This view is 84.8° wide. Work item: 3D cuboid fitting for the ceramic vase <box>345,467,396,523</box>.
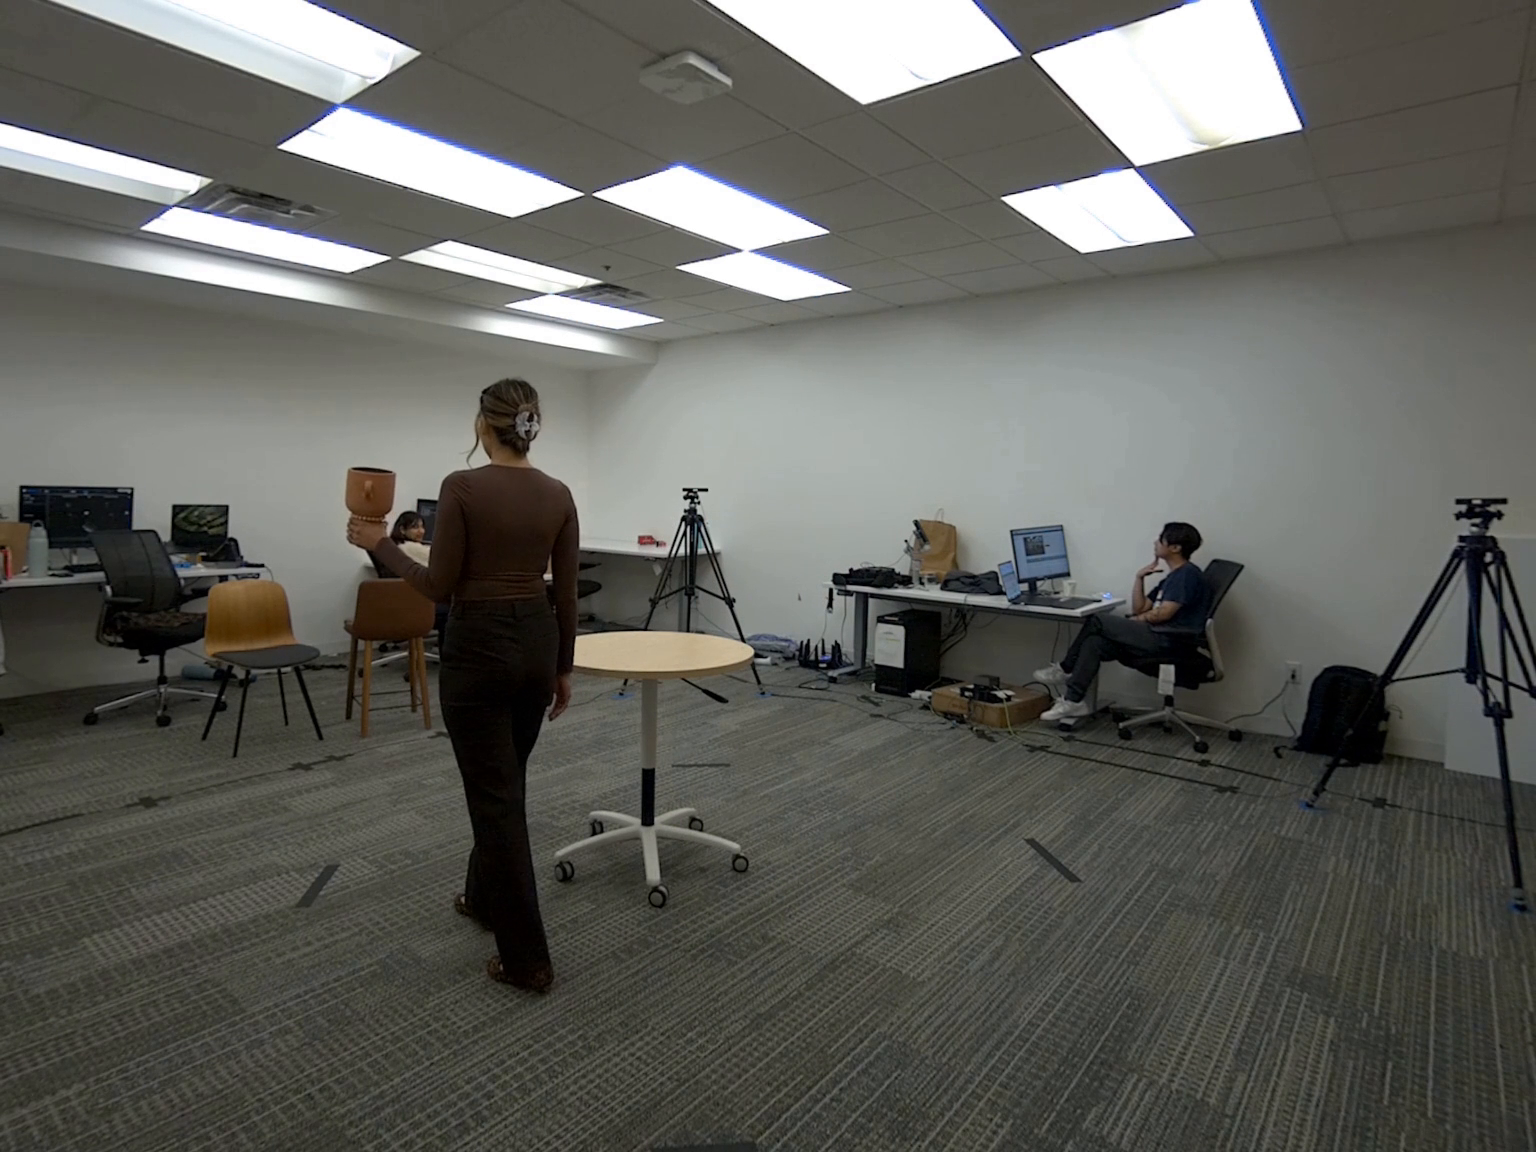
[{"bbox_3d":[-1.188,-0.208,2.508,0.138,0.218,0.156,12,9,20],"label":"ceramic vase"}]
